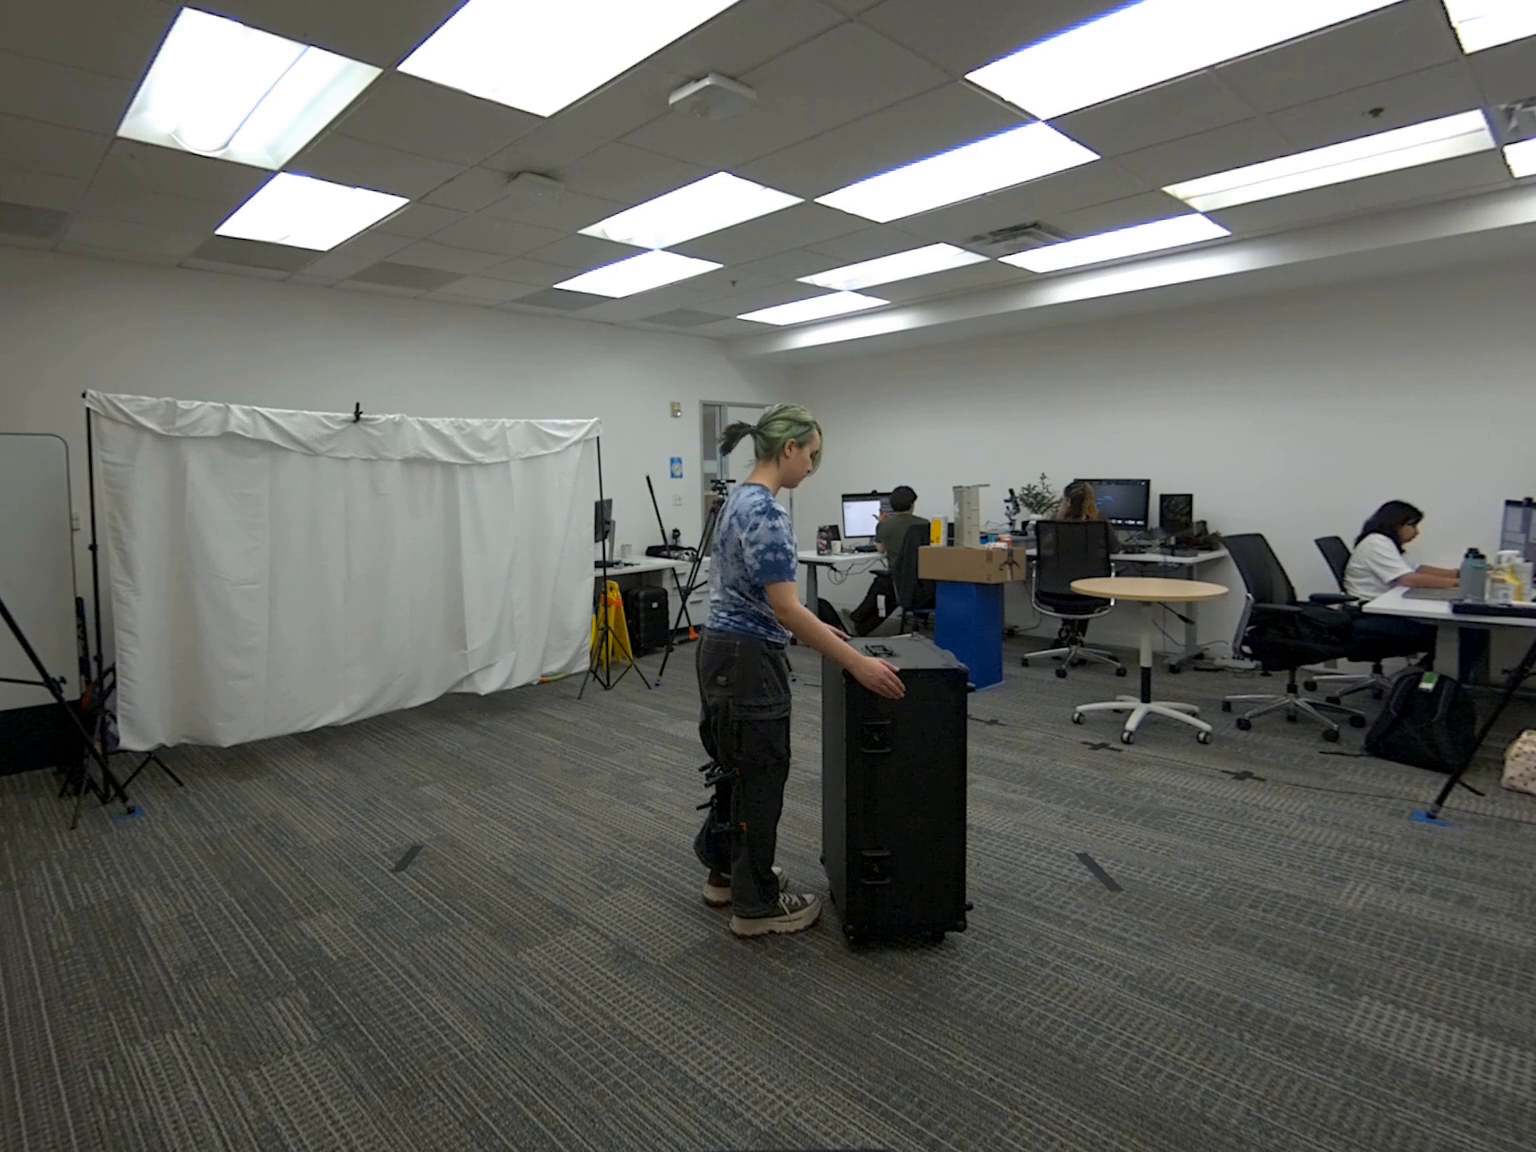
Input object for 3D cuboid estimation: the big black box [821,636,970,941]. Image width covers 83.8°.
[{"bbox_3d":[0.392,0.659,2.705,0.395,0.858,0.525,0,4,-4],"label":"big black box"}]
